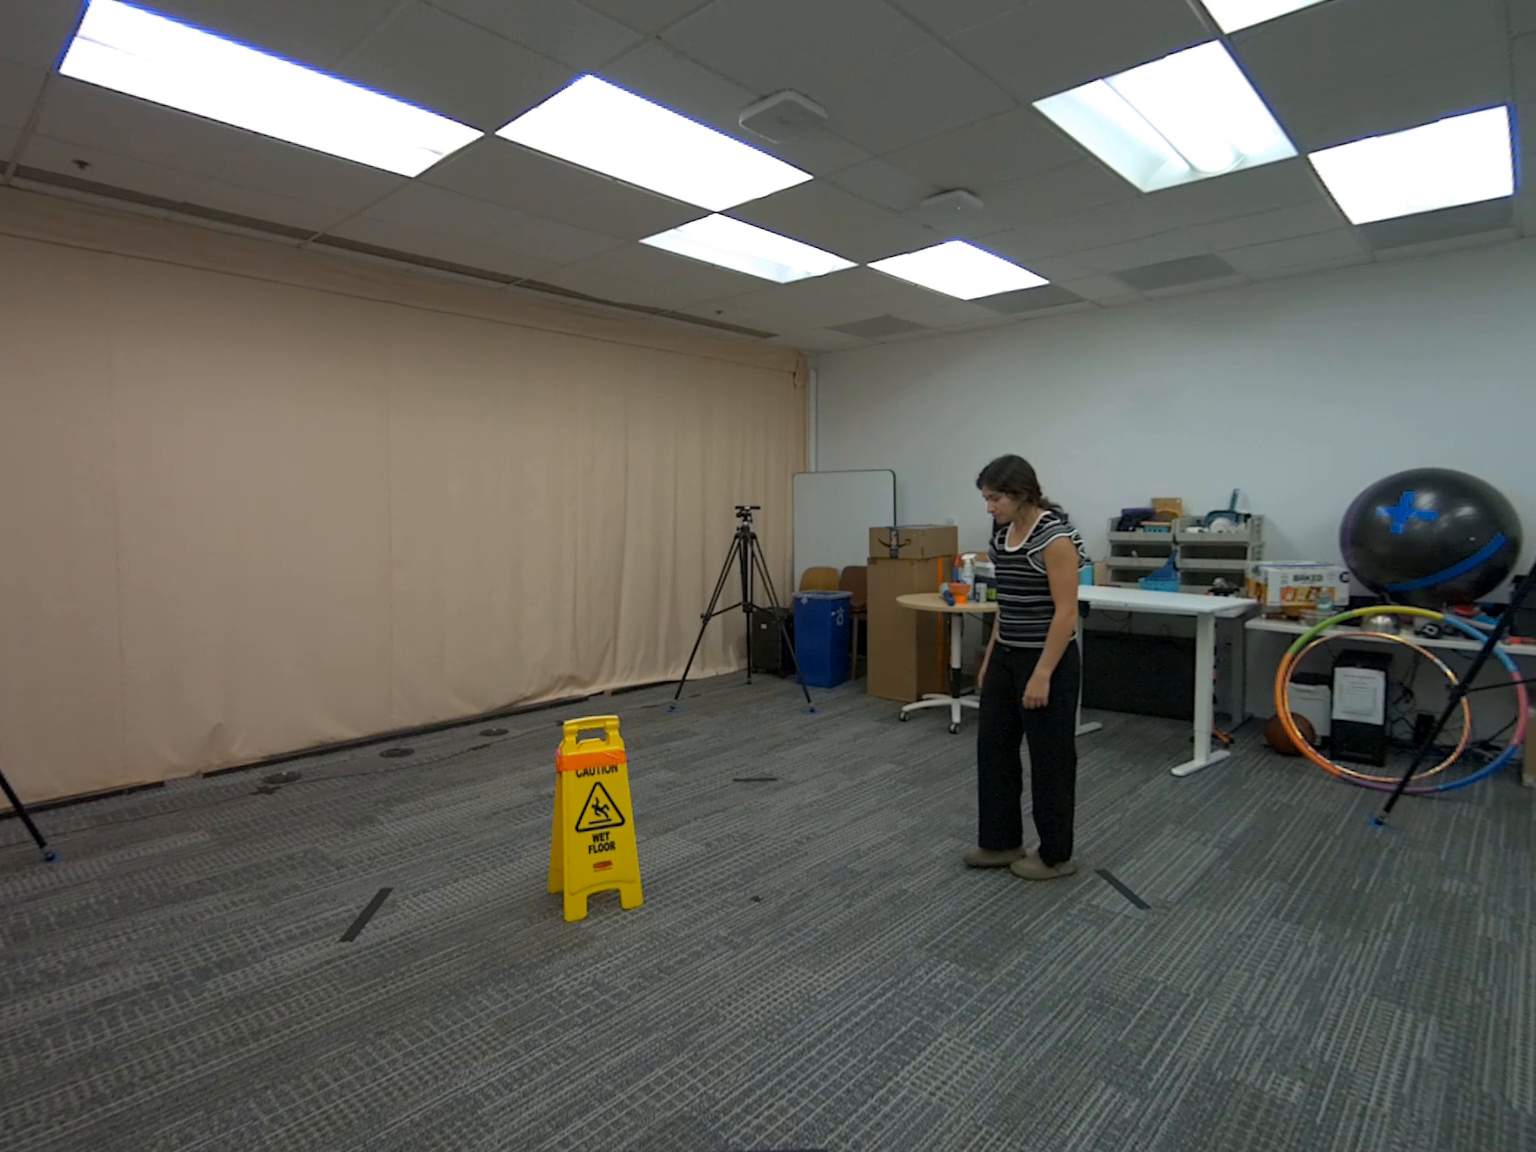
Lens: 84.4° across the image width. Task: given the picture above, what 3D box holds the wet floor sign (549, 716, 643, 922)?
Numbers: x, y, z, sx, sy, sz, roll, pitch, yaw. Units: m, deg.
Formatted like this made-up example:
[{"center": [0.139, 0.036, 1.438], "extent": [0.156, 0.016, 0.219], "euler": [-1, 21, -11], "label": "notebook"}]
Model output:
[{"center": [-0.623, 0.828, 2.979], "extent": [0.276, 0.645, 0.297], "euler": [-2, 3, -25], "label": "wet floor sign"}]
